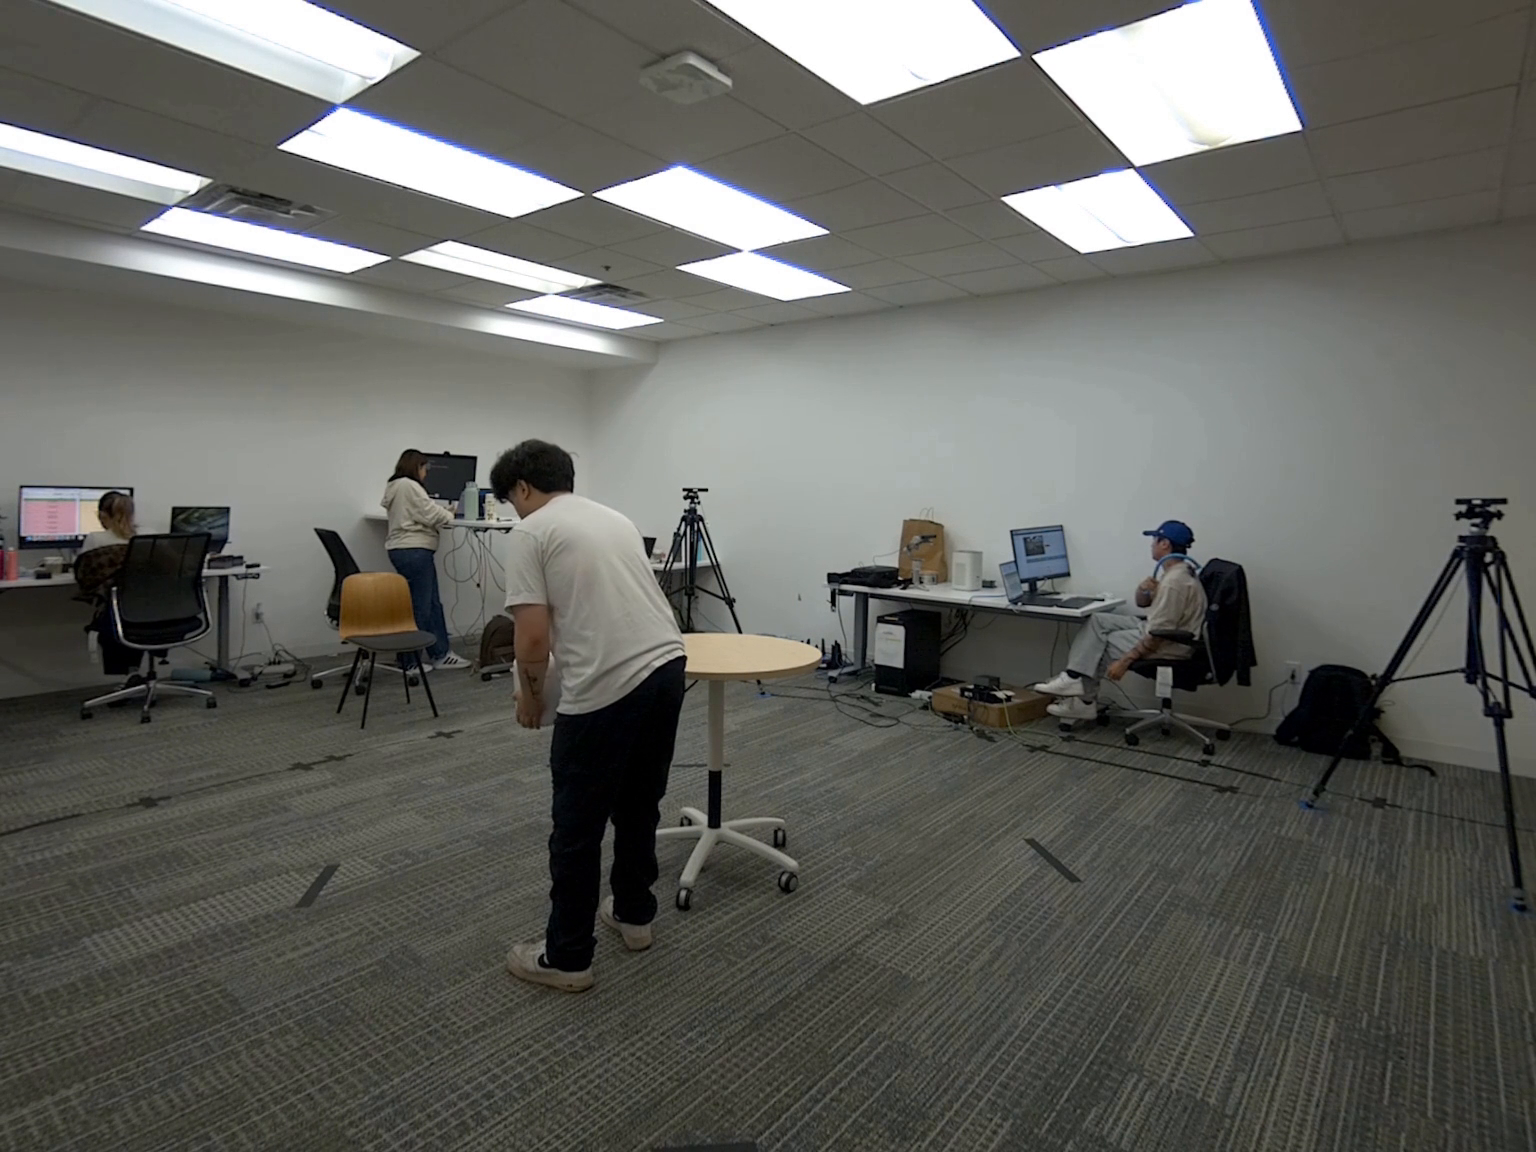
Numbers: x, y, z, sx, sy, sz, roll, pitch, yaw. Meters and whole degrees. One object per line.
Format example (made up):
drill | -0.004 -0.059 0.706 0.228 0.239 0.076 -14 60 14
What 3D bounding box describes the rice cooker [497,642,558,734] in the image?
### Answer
rice cooker | -0.684 0.325 2.635 0.225 0.231 0.215 5 11 39
